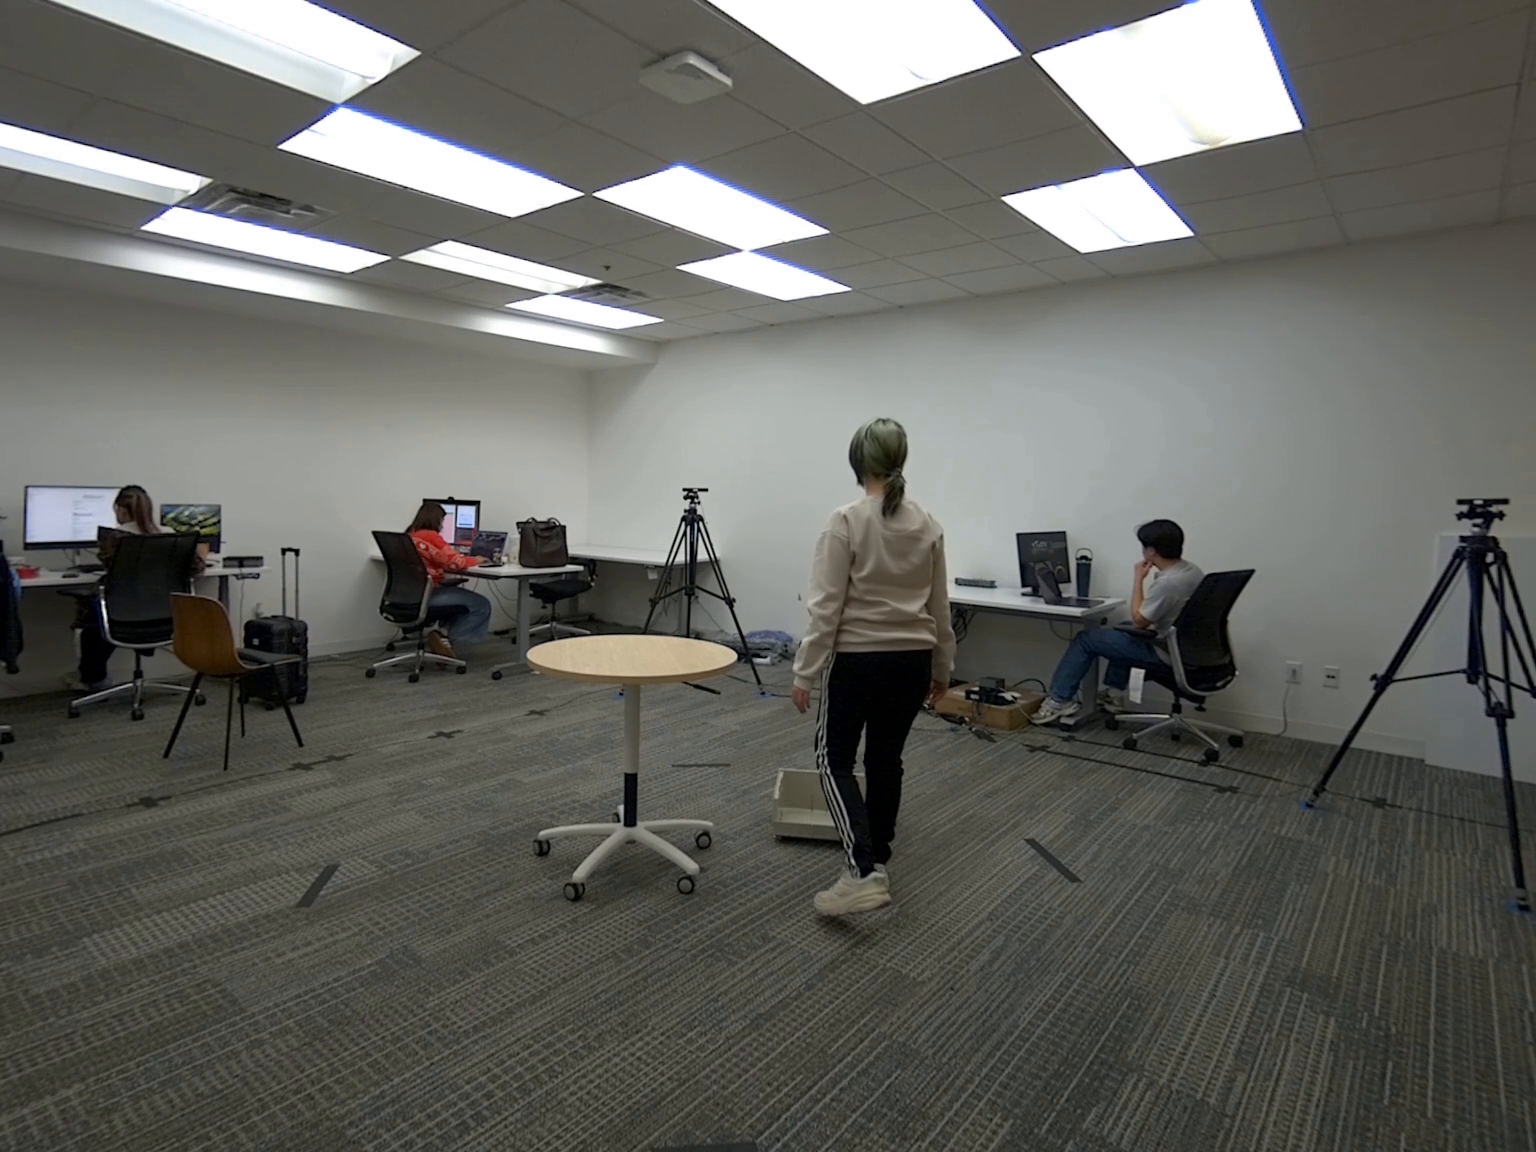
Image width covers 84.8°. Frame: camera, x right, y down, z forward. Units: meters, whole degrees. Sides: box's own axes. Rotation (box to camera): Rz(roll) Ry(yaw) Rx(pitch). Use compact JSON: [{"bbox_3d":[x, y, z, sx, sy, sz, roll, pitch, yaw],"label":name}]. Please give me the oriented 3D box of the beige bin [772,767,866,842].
[{"bbox_3d":[0.234,0.954,3.506,0.426,0.188,0.376,2,4,6],"label":"beige bin"}]
